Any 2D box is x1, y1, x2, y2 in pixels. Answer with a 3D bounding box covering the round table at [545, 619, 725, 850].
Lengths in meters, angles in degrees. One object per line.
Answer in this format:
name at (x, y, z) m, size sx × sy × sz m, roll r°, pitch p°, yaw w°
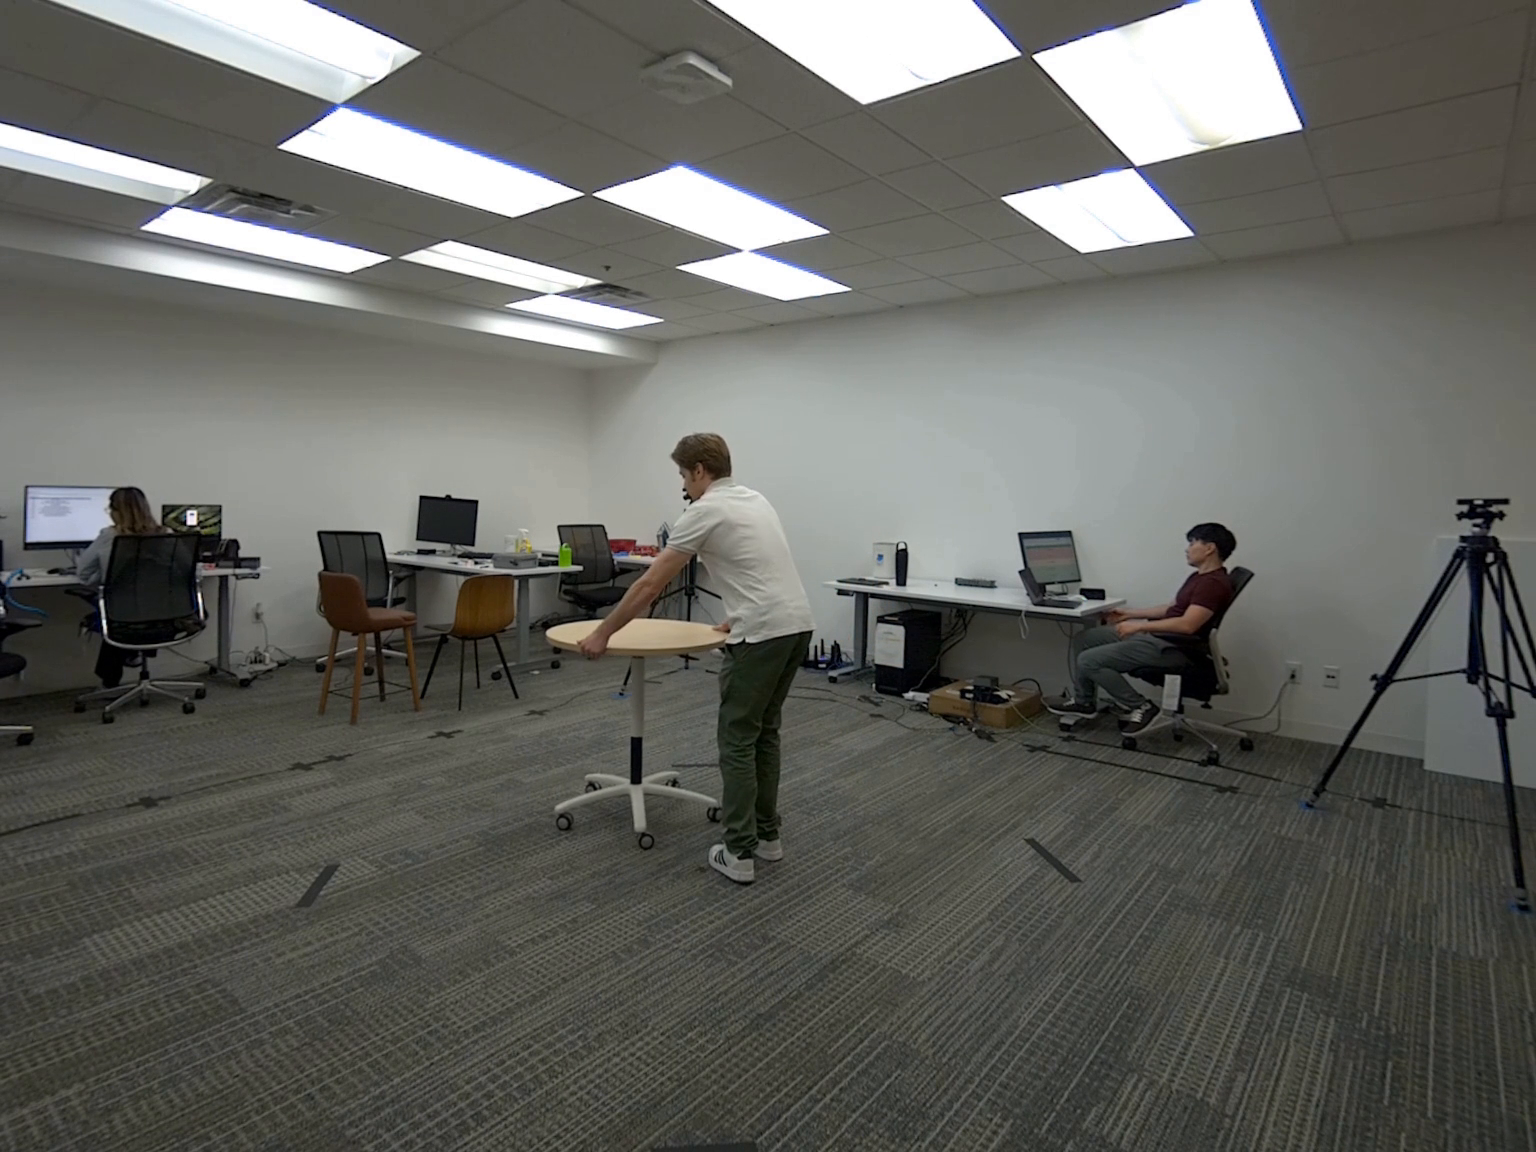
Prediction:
round table at (-0.566, 0.629, 3.600) m, size 0.763 × 0.792 × 0.767 m, roll 1°, pitch 4°, yaw -2°
